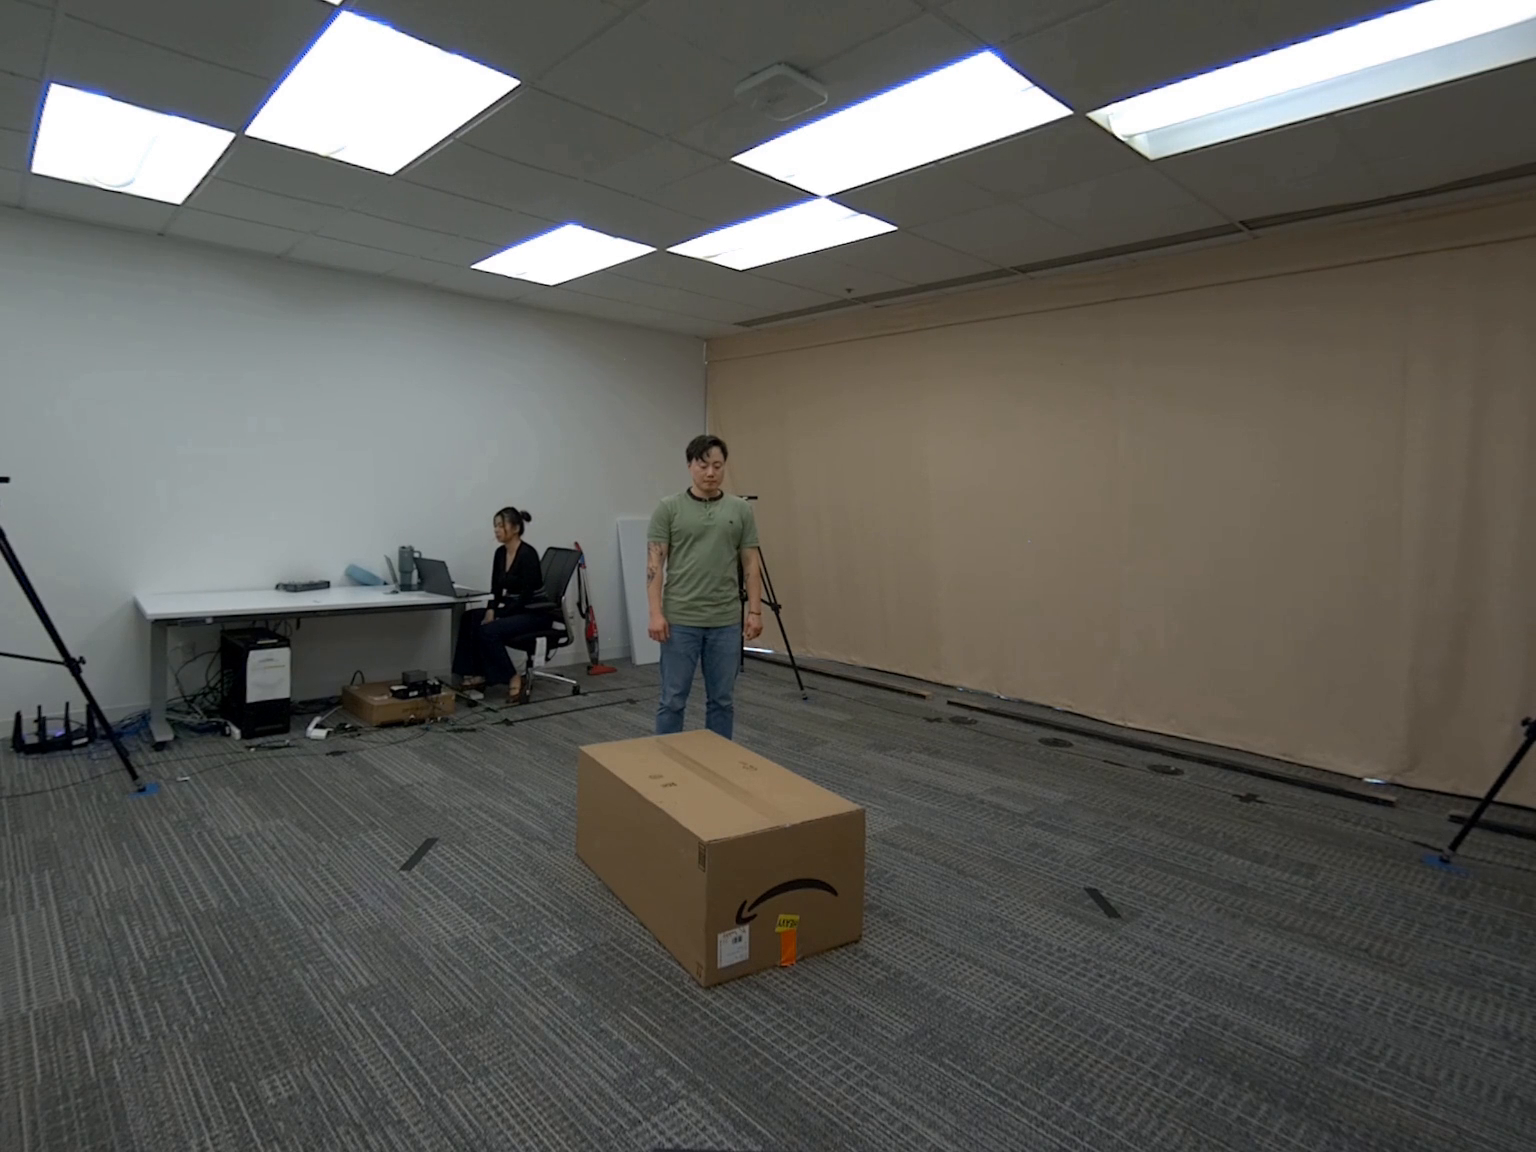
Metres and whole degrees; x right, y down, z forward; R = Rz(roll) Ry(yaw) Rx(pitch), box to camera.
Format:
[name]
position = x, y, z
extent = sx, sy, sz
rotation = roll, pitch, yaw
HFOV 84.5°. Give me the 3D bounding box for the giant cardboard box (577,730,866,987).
[giant cardboard box]
position = -0.219, 0.905, 2.939
extent = 0.565, 0.425, 1.050
rotation = -2, 6, -32
